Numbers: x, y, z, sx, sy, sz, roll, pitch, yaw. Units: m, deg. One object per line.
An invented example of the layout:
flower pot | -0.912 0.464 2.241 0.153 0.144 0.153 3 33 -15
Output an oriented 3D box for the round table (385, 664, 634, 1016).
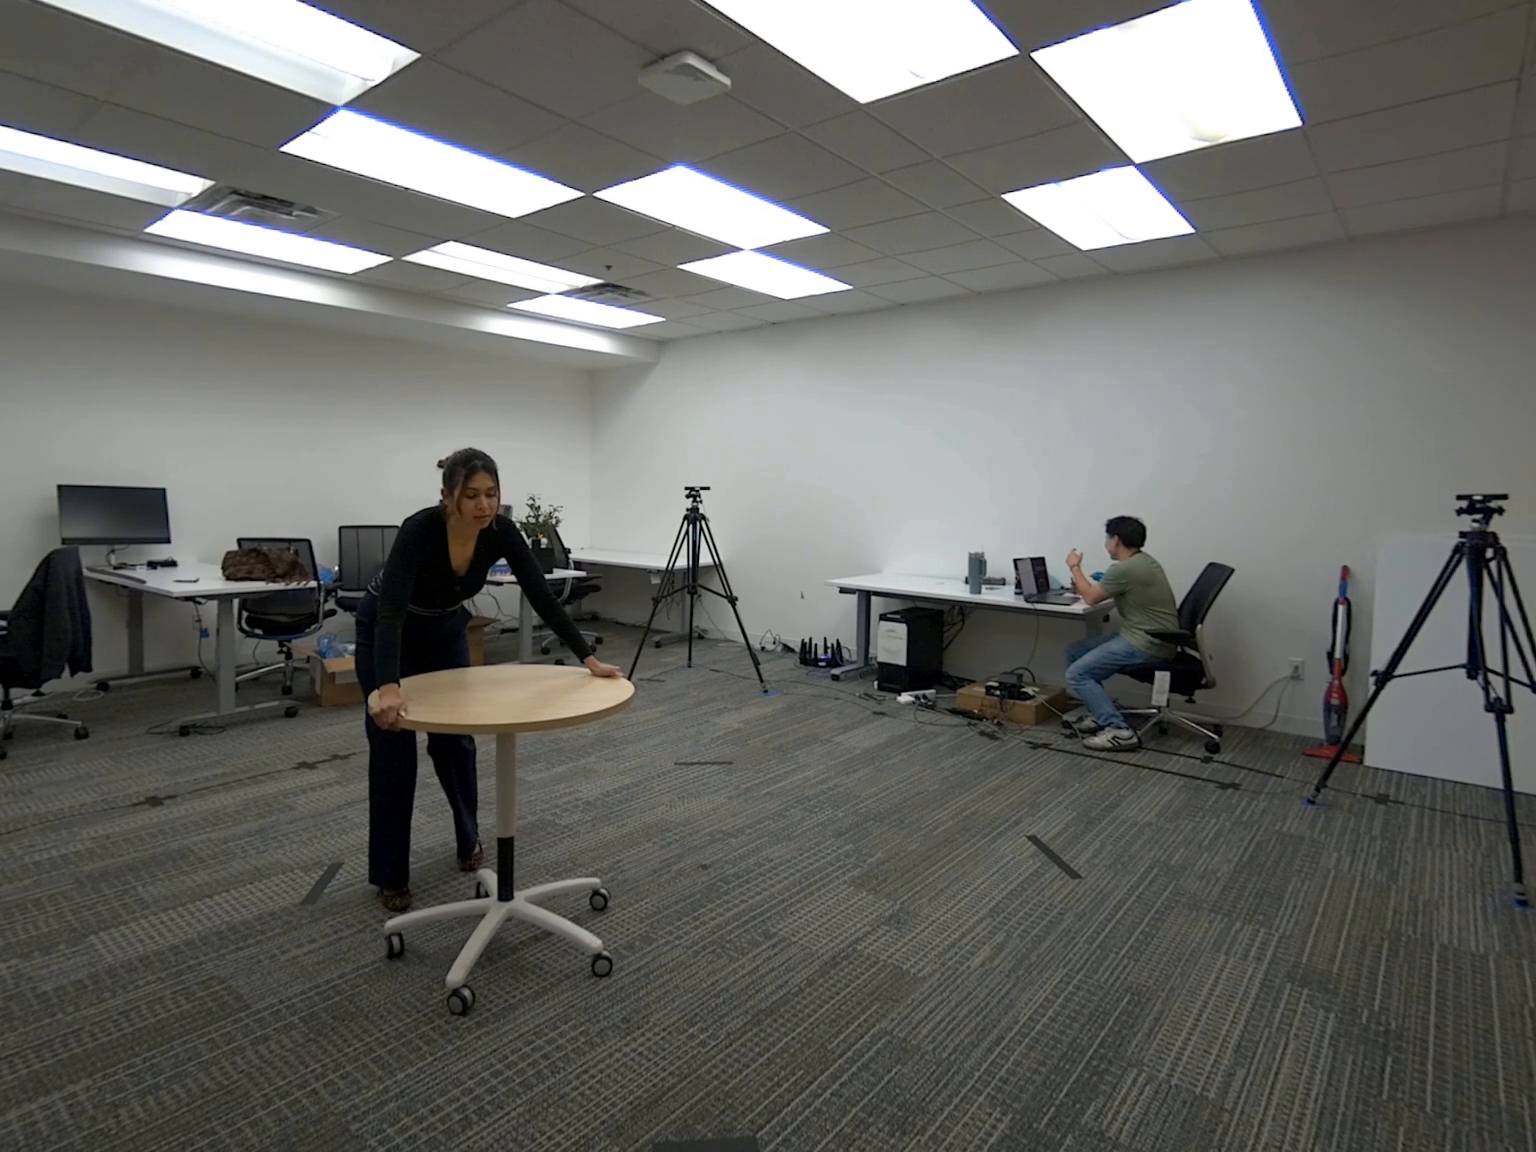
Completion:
round table | -0.785 0.729 2.557 0.763 0.791 0.768 0 4 -2
